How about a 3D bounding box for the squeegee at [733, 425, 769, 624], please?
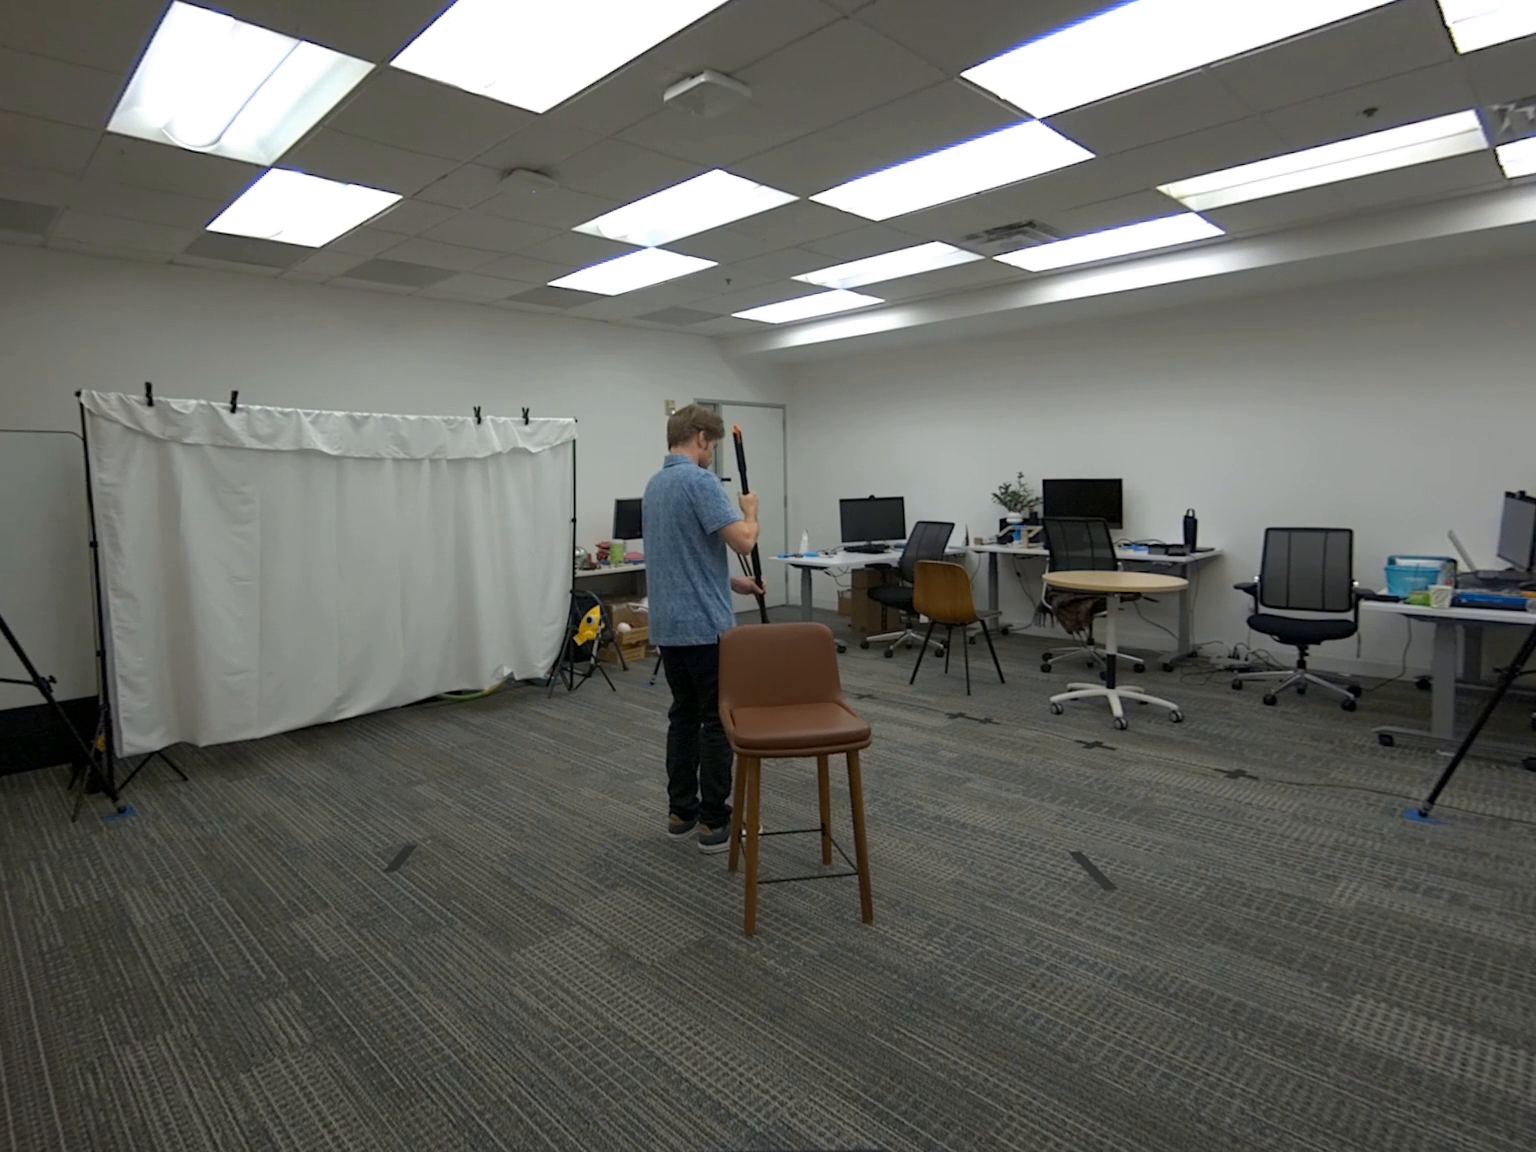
[{"bbox_3d":[-0.020,0.111,3.626,0.449,1.503,0.053,6,27,28],"label":"squeegee"}]
